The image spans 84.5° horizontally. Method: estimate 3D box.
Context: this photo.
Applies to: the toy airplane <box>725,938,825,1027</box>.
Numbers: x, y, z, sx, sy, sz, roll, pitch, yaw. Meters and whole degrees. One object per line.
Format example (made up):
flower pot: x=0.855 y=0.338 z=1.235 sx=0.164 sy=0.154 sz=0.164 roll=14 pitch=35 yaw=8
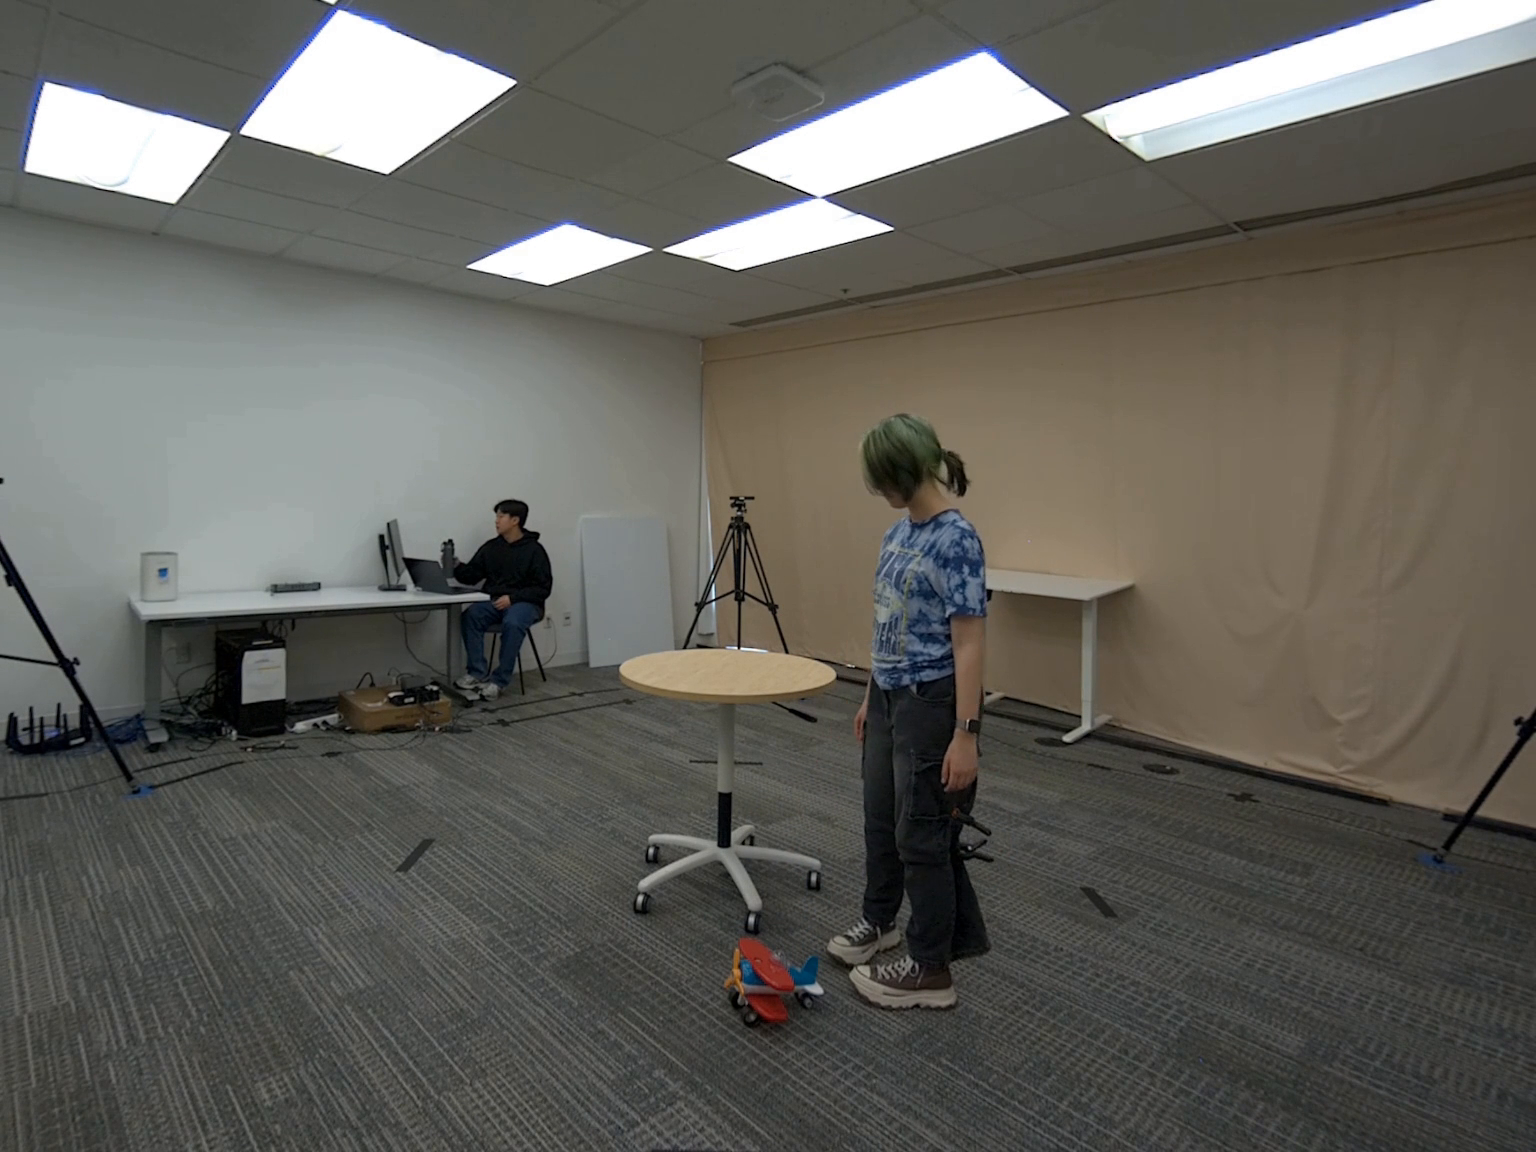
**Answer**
toy airplane: x=0.006 y=1.100 z=2.308 sx=0.257 sy=0.156 sz=0.254 roll=5 pitch=8 yaw=38
